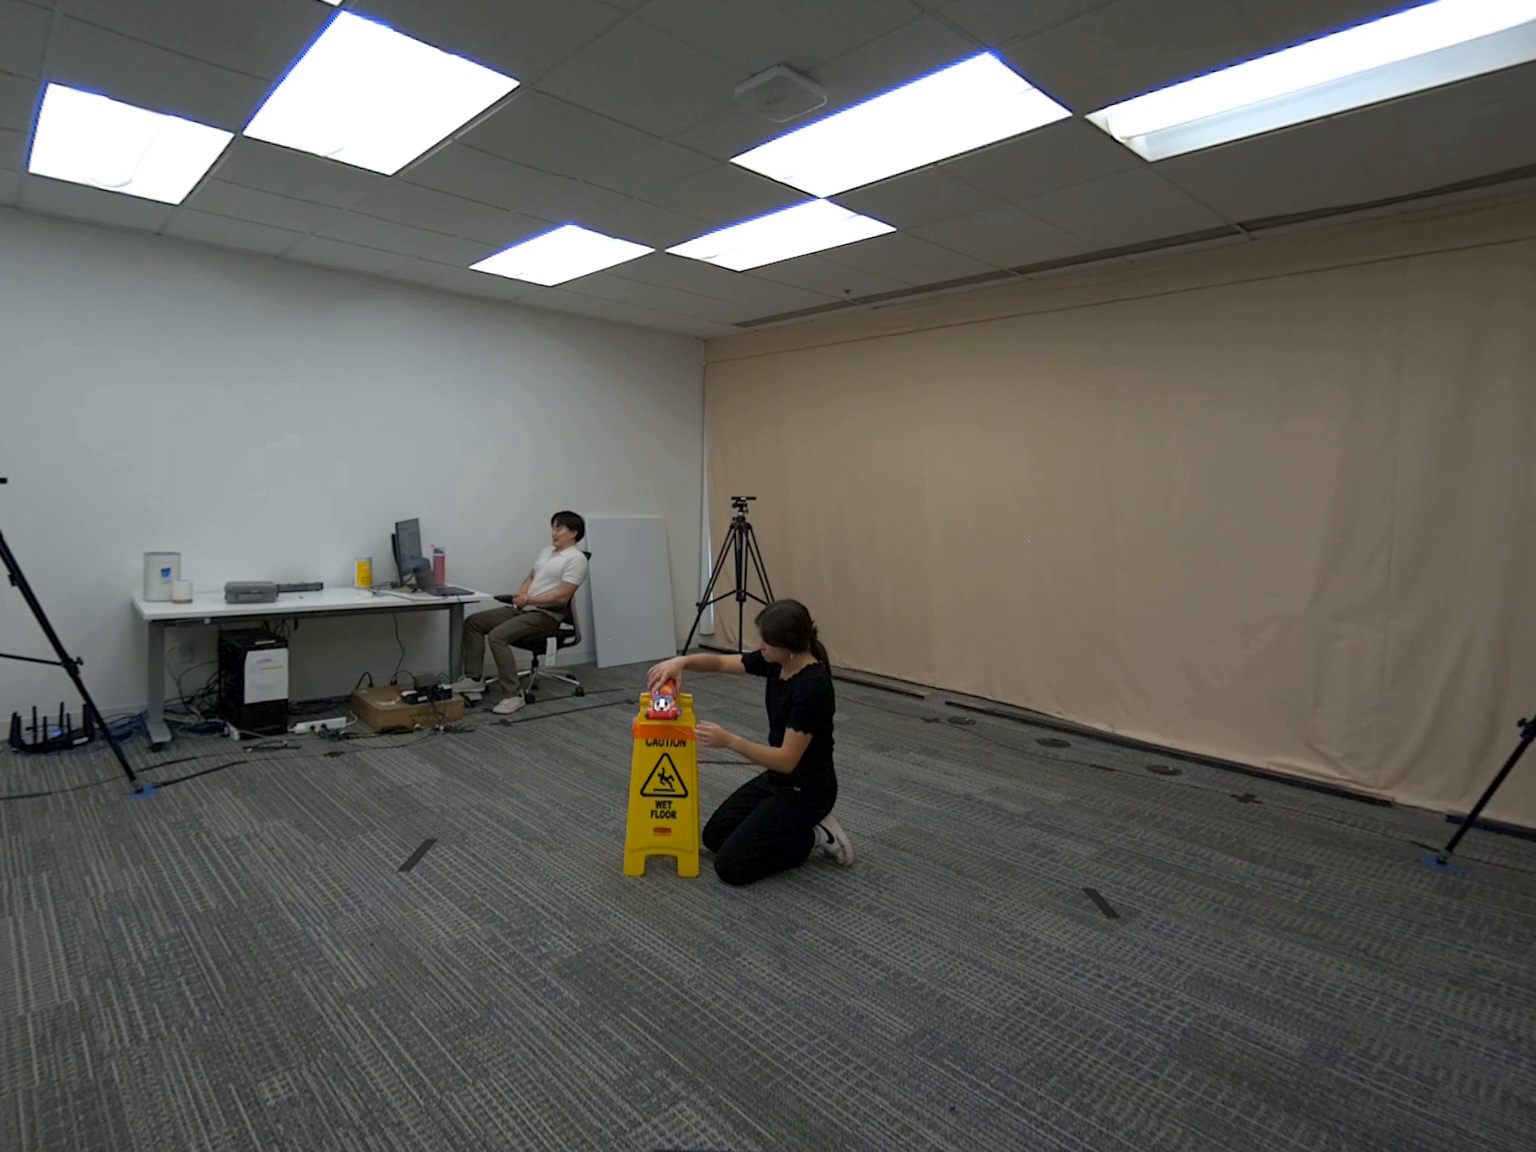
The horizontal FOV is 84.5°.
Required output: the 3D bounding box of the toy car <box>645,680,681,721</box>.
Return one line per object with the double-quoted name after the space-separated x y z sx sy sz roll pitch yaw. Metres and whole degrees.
-0.395 0.440 3.138 0.130 0.081 0.260 2 48 -2 "toy car"
